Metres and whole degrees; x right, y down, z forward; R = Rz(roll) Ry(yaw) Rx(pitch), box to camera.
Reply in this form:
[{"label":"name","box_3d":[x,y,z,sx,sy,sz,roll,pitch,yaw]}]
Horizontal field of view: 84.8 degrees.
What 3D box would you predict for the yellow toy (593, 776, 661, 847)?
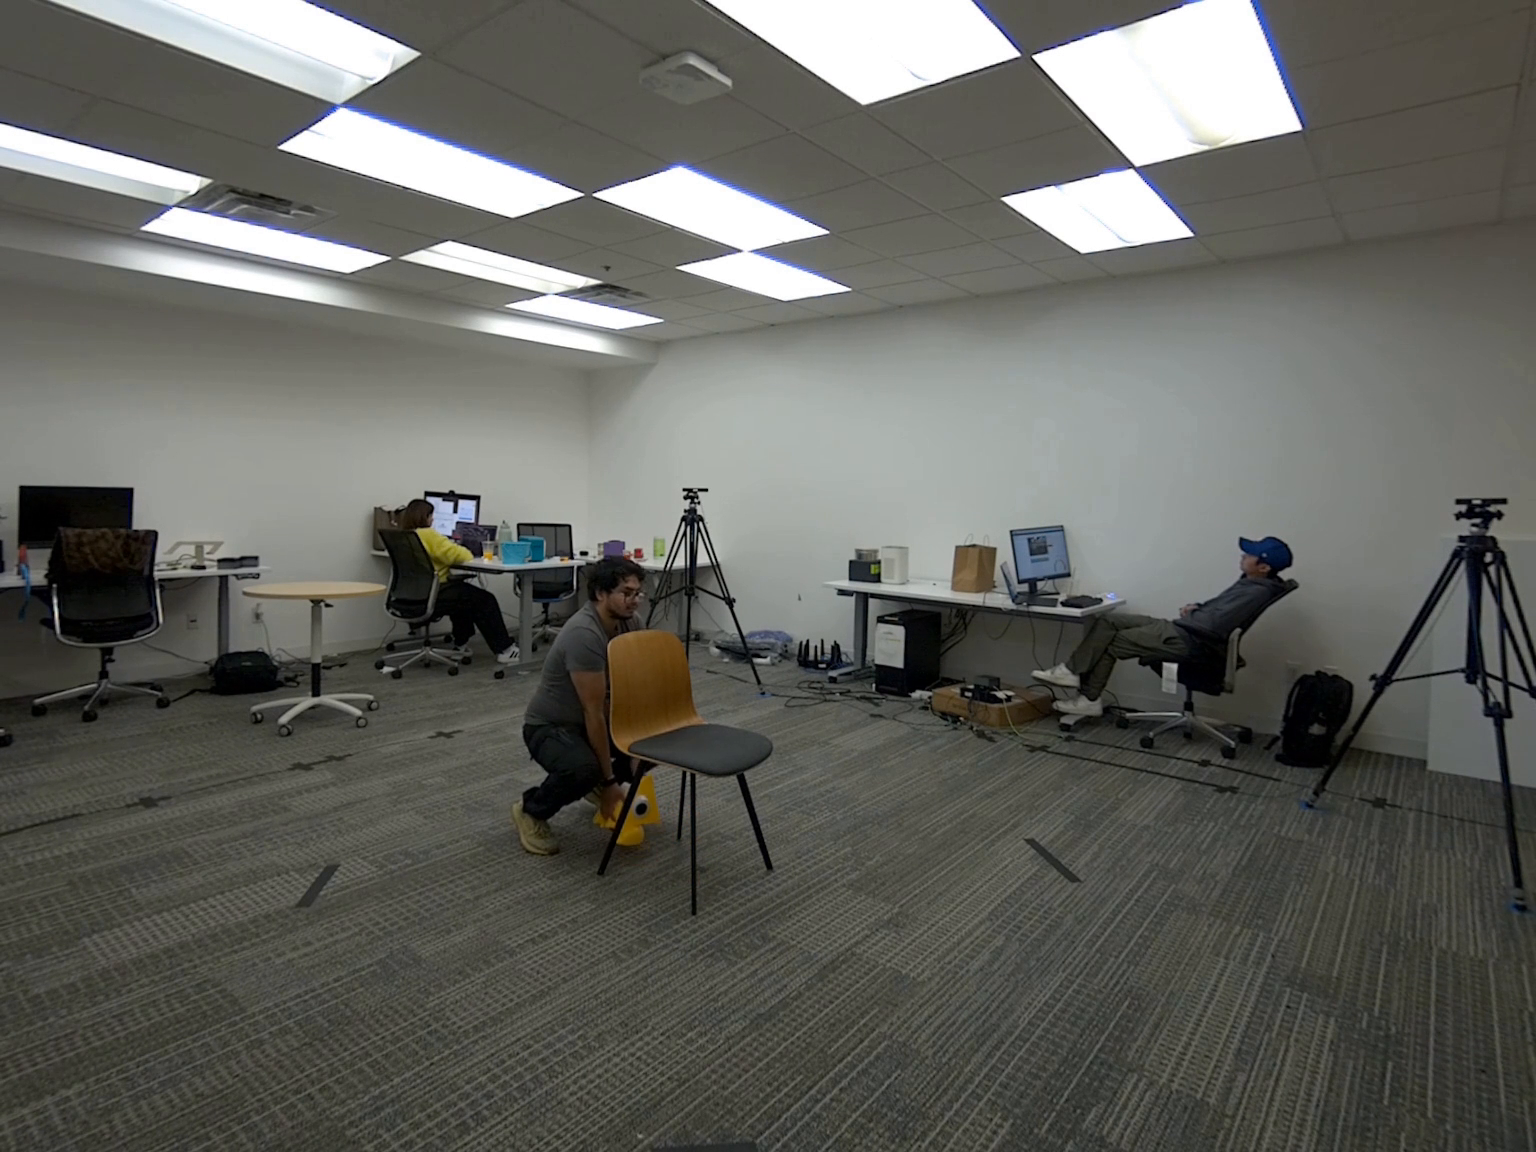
[{"label":"yellow toy","box_3d":[-0.552,0.875,3.272,0.213,0.229,0.186,27,11,33]}]
